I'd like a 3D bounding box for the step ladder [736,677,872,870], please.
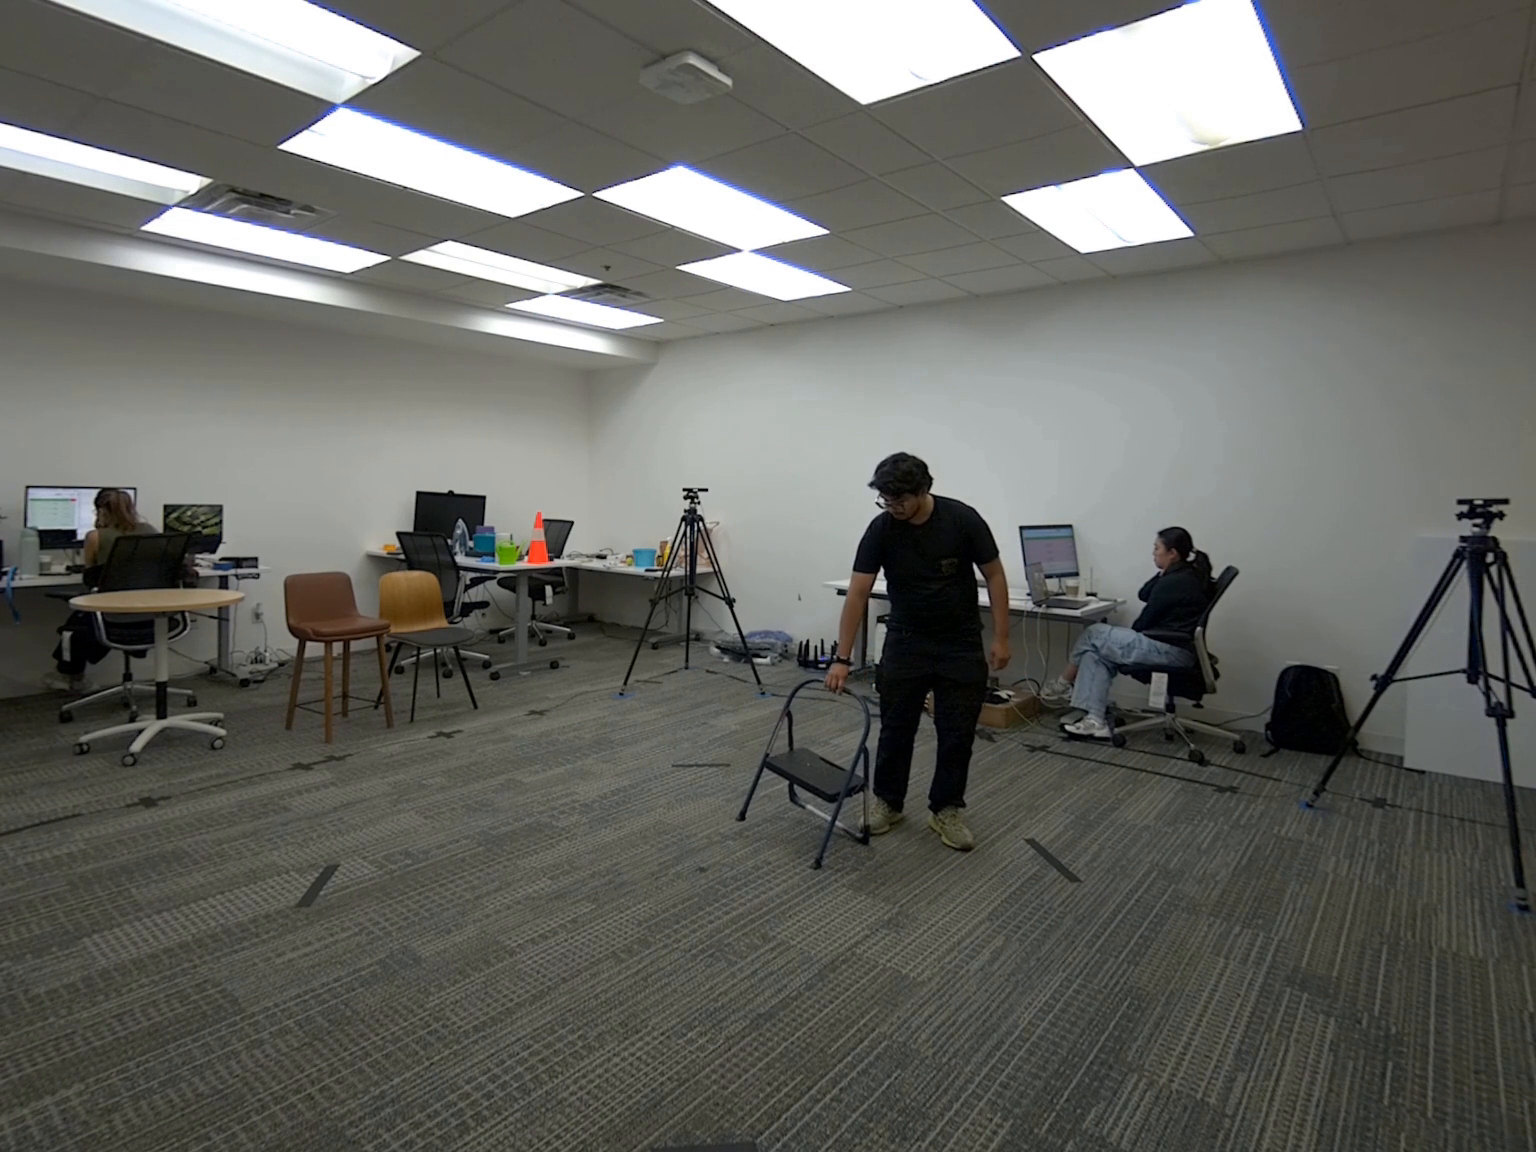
[{"bbox_3d":[0.176,0.726,3.346,0.447,0.601,0.338,17,13,41],"label":"step ladder"}]
